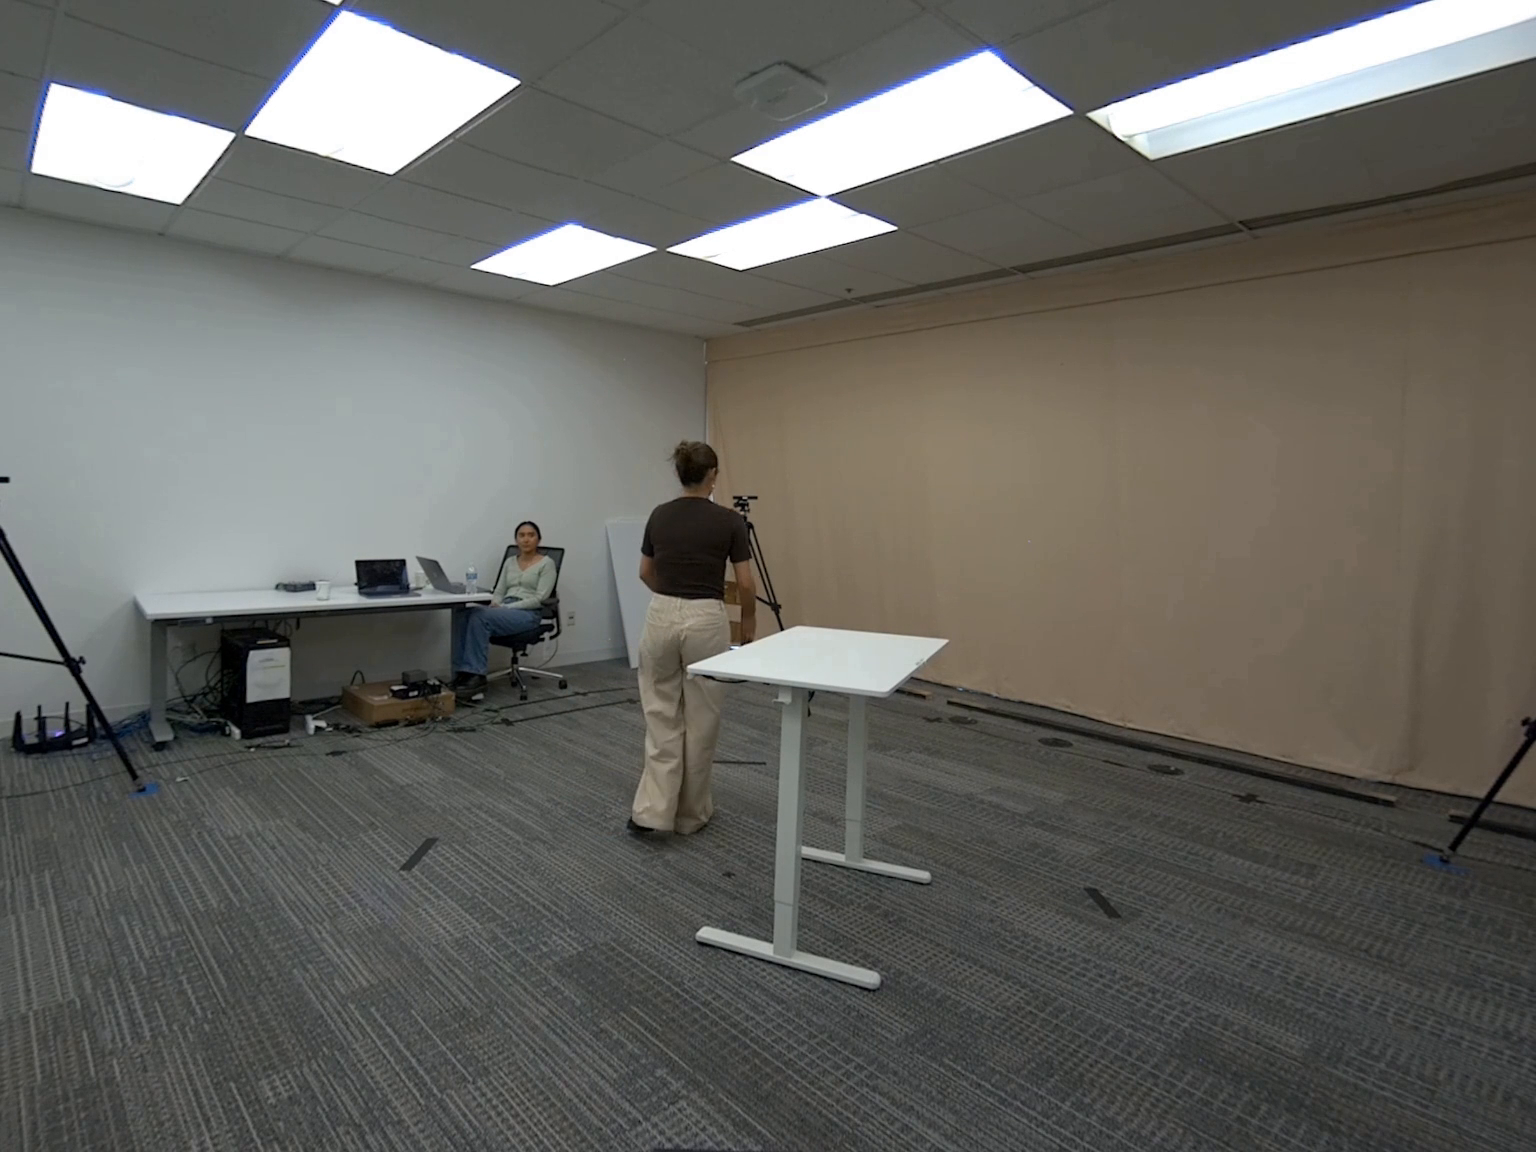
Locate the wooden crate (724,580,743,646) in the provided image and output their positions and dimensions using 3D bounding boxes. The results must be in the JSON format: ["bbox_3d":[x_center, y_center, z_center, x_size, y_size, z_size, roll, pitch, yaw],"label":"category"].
[{"bbox_3d":[-0.245,0.152,3.753,0.330,0.274,0.296,6,-4,20],"label":"wooden crate"}]
